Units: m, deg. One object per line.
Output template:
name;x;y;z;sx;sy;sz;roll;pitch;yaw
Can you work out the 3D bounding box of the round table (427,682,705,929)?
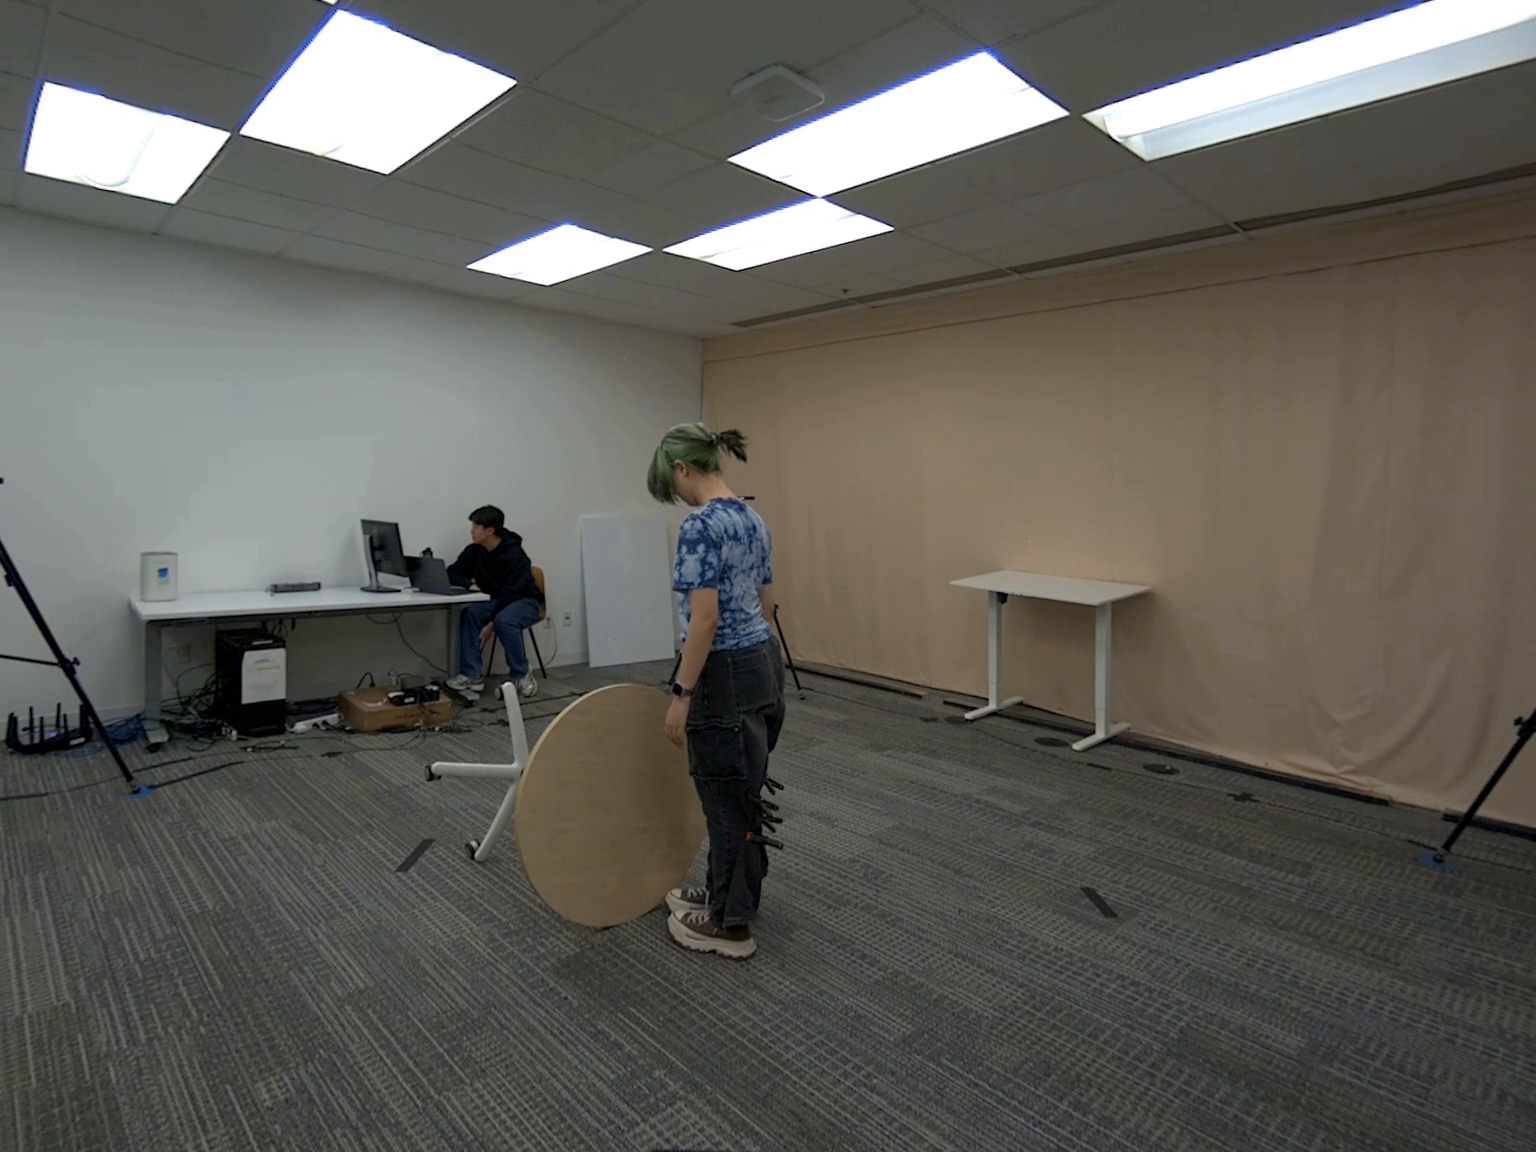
round table;-0.757;0.758;3.059;0.746;0.765;0.811;-3;-1;-44
